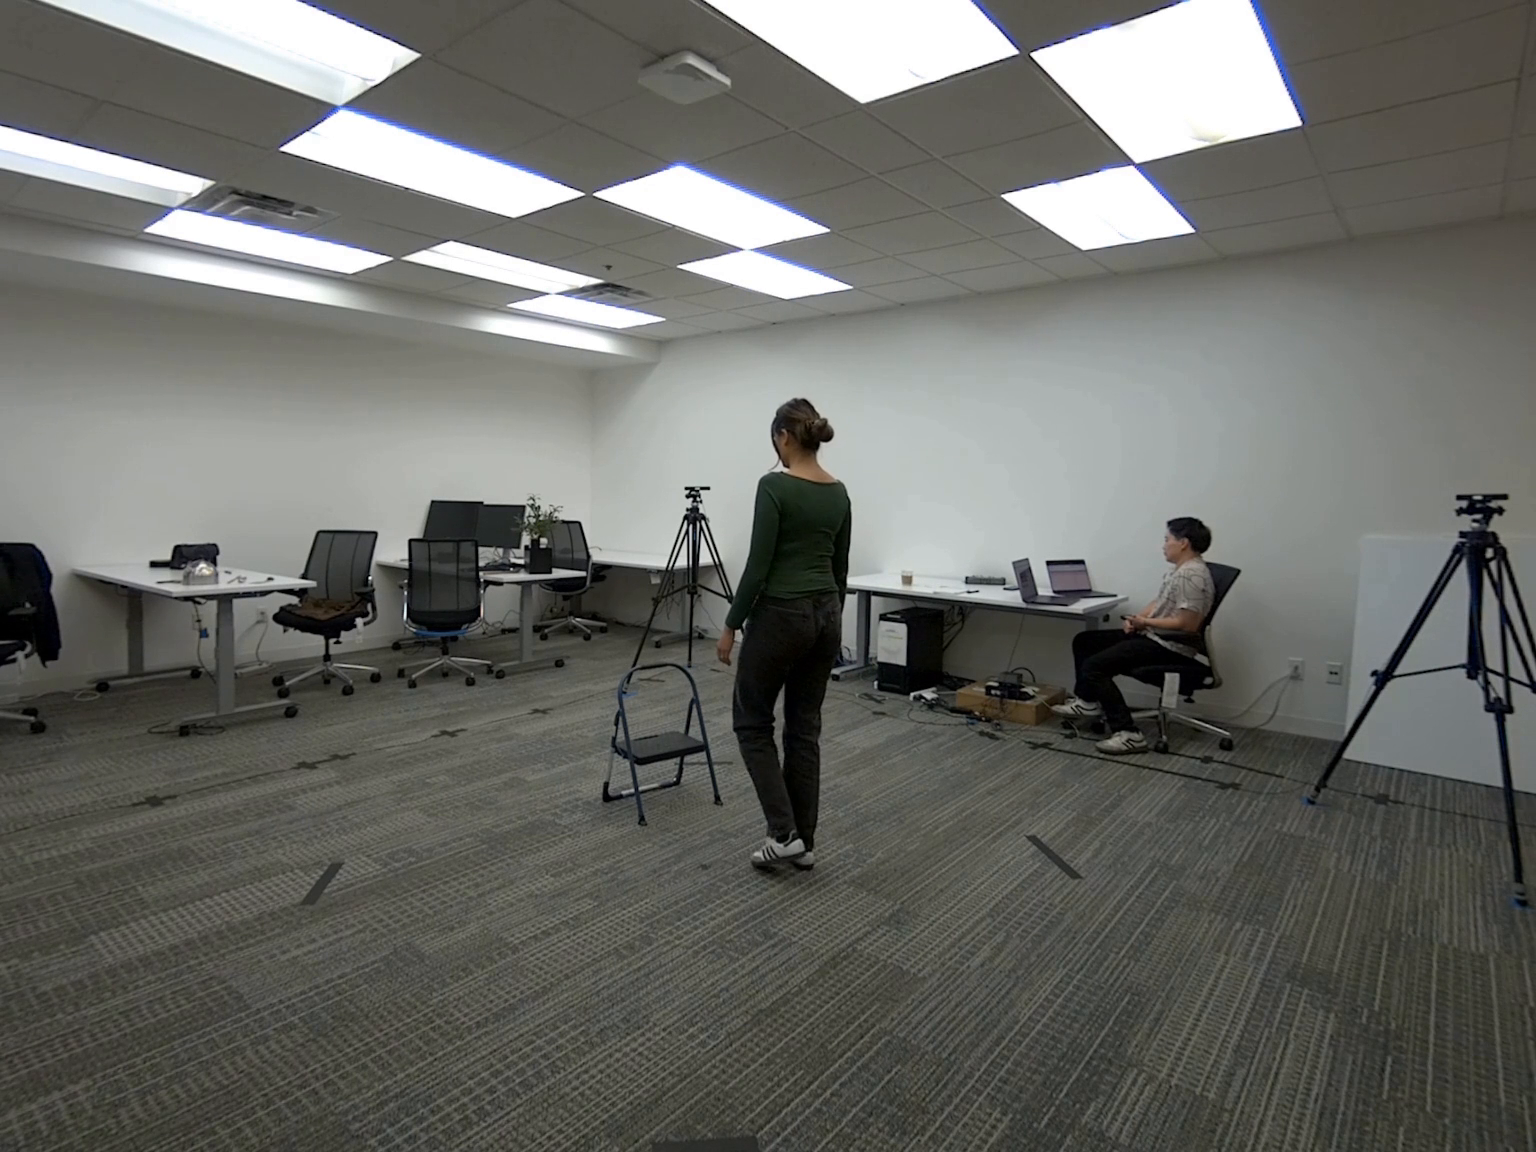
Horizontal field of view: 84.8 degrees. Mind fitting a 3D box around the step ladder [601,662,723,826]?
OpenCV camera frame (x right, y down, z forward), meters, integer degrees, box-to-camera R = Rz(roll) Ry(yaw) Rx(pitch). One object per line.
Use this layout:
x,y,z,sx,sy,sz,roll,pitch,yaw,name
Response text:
-0.476,0.696,3.740,0.418,0.604,0.361,-2,4,-40,step ladder
